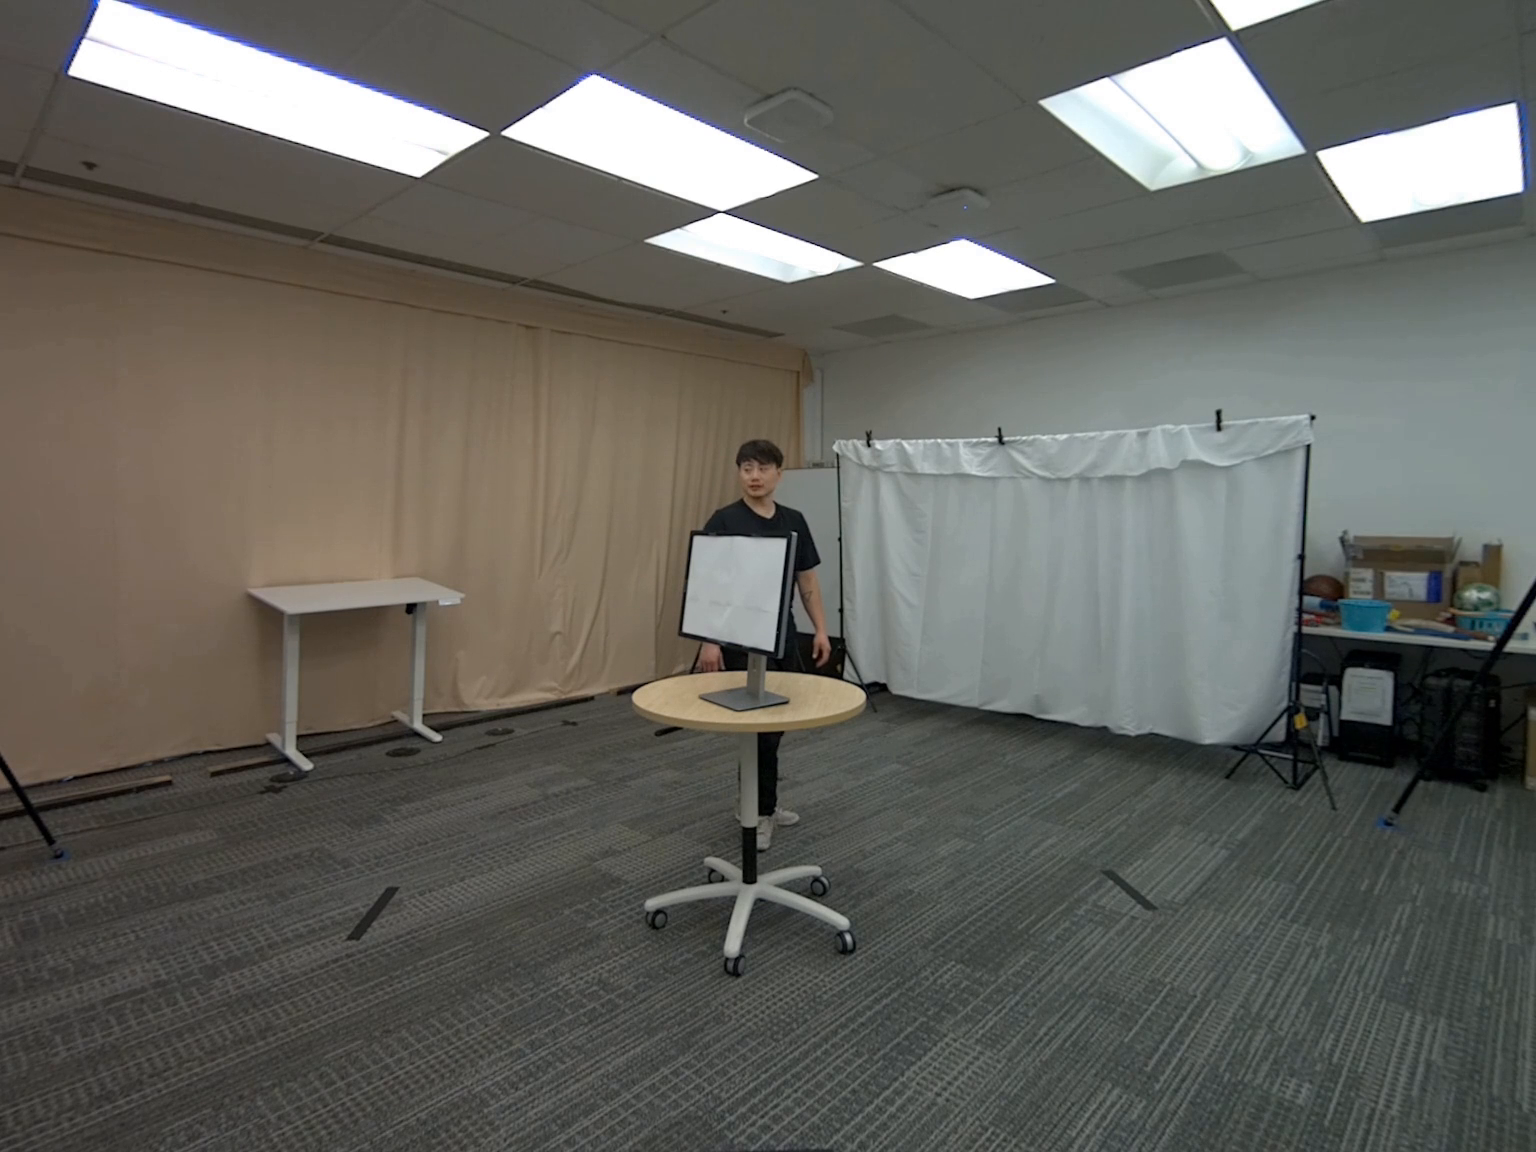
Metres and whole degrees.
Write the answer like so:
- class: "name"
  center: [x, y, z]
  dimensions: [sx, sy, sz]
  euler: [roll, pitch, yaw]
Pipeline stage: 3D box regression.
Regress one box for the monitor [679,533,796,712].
- class: "monitor"
  center: [-0.076, 0.135, 2.667]
  dimensions: [0.182, 0.521, 0.556]
  euler: [-4, 5, -37]
